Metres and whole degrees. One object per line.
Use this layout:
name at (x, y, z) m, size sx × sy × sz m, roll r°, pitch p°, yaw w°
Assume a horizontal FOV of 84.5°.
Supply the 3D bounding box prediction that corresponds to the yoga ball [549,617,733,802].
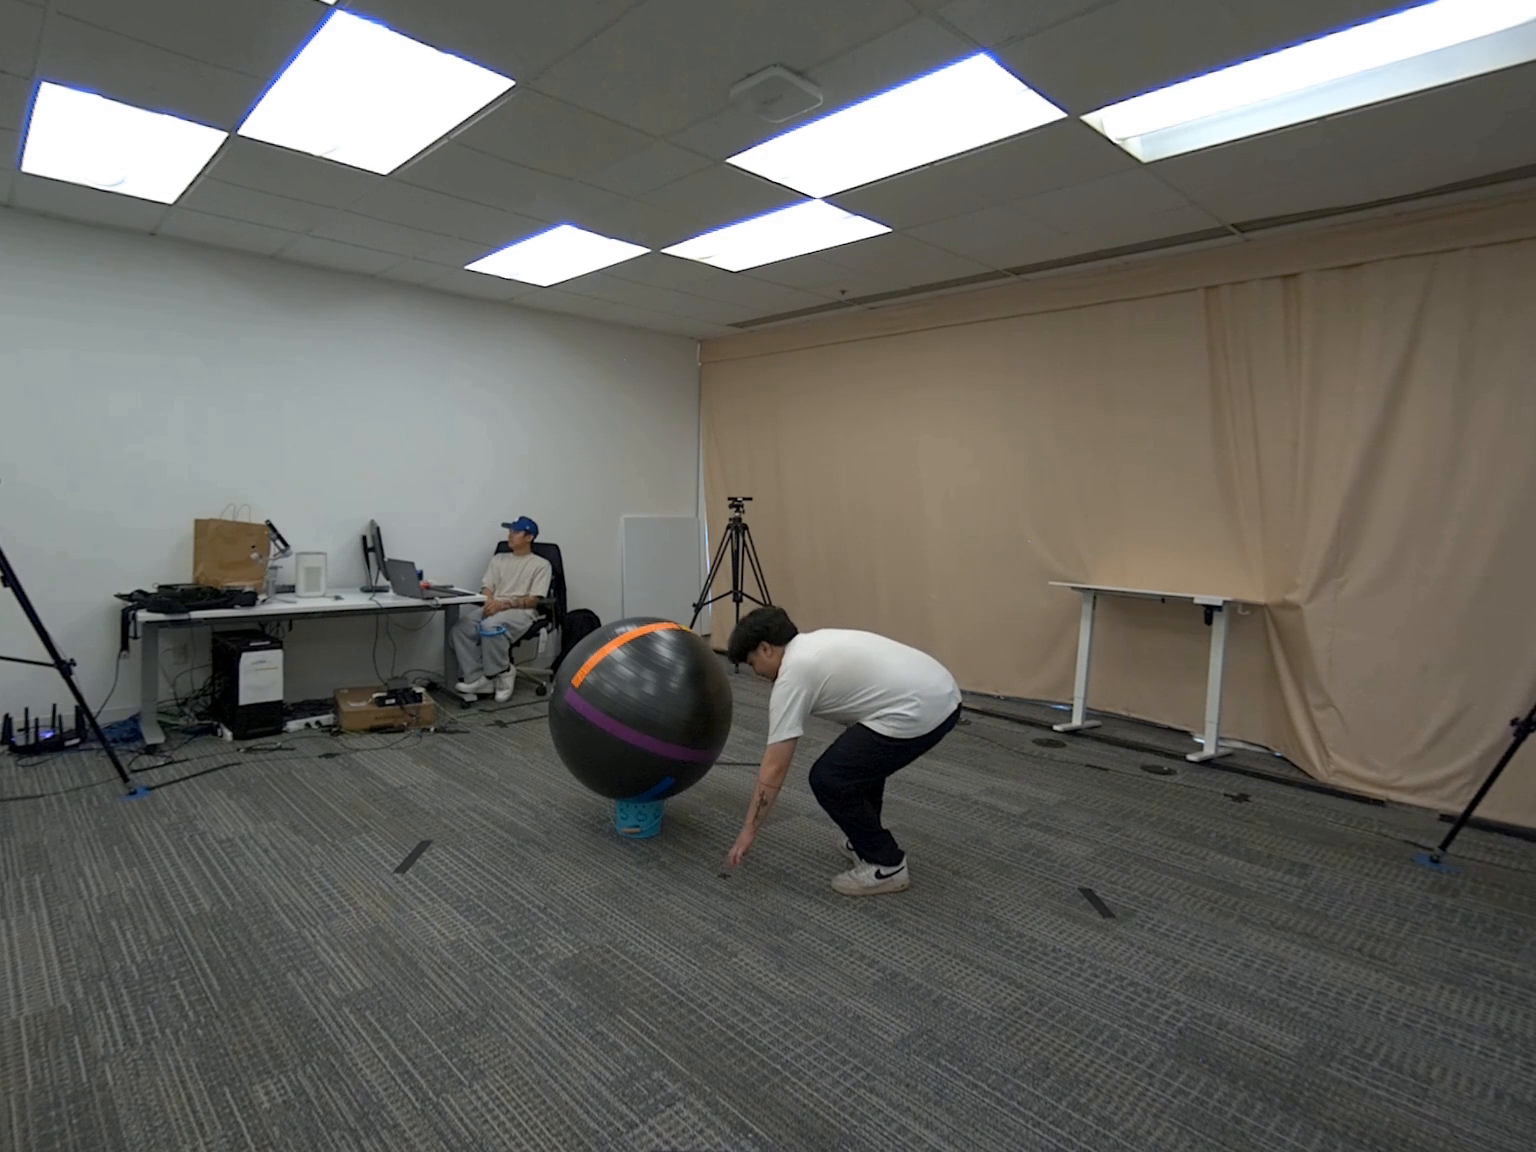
yoga ball at (-0.528, 0.549, 3.511) m, size 0.757 × 0.756 × 0.761 m, roll 1°, pitch 4°, yaw -1°
